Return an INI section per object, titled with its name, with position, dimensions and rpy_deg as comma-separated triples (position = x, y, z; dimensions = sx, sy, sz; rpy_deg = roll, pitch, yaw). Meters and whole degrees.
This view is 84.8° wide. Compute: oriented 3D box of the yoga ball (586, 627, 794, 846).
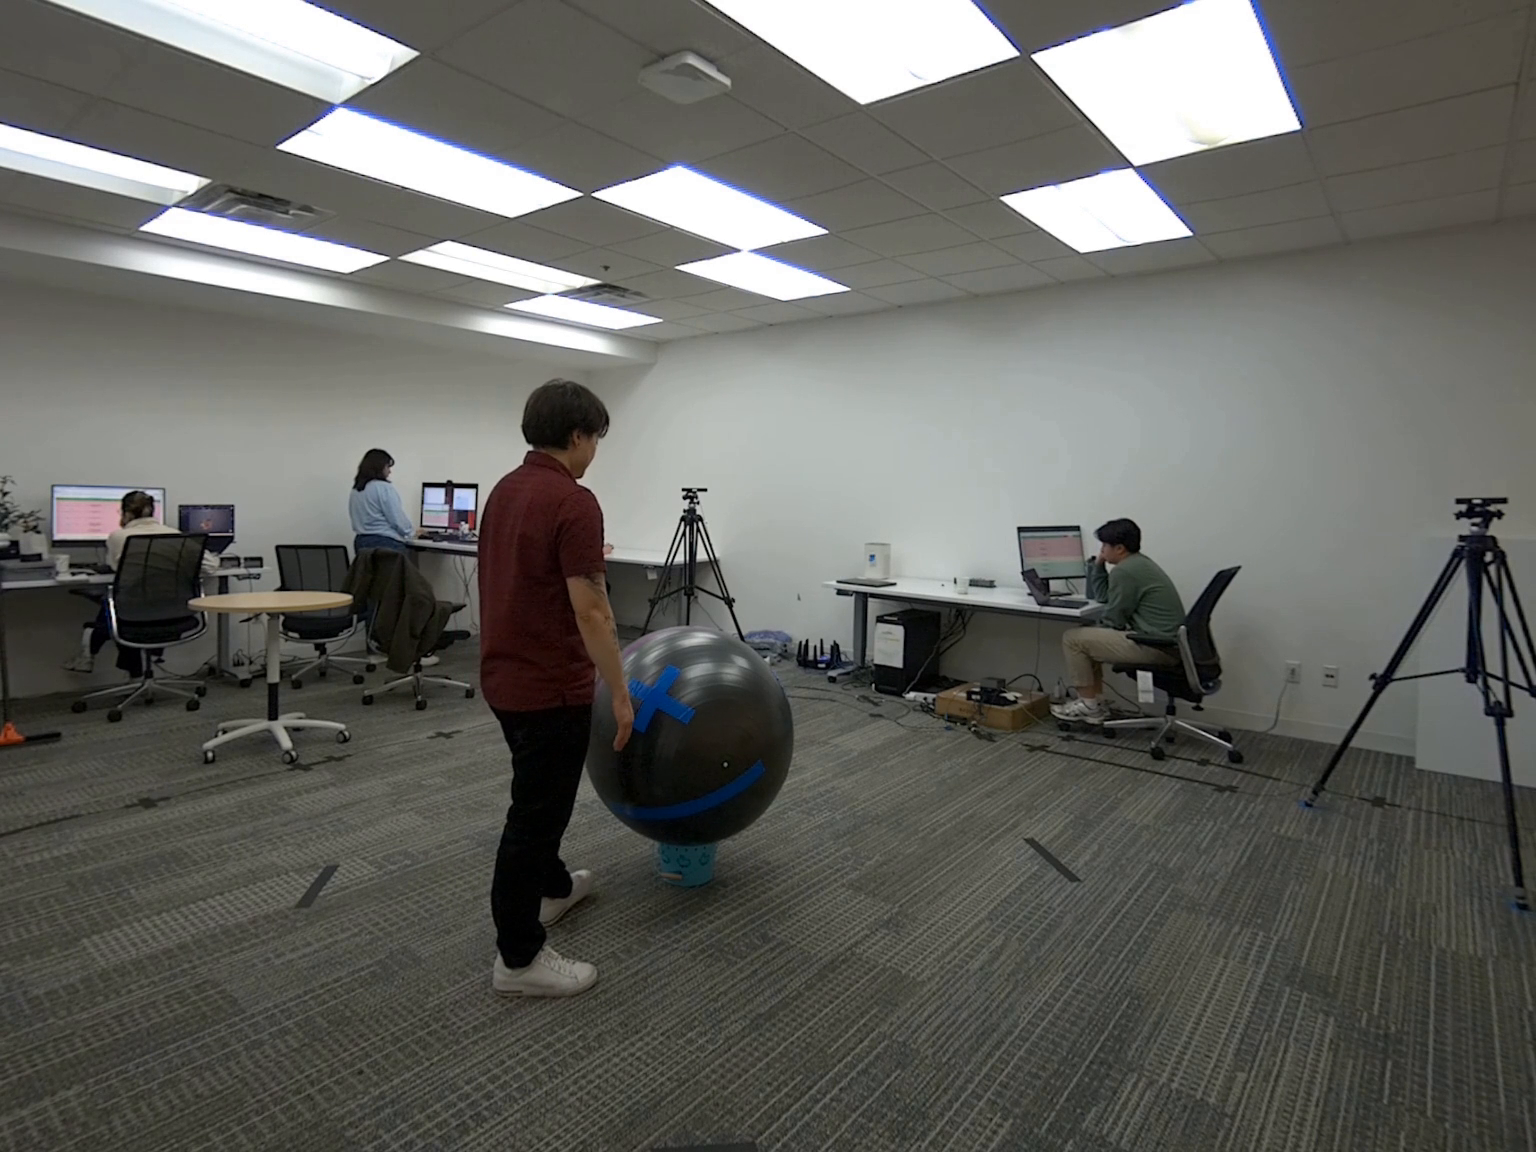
[yoga ball]
position = -0.291, 0.562, 3.044
dimensions = 0.757, 0.755, 0.762
rpy_deg = 1, 4, -2
